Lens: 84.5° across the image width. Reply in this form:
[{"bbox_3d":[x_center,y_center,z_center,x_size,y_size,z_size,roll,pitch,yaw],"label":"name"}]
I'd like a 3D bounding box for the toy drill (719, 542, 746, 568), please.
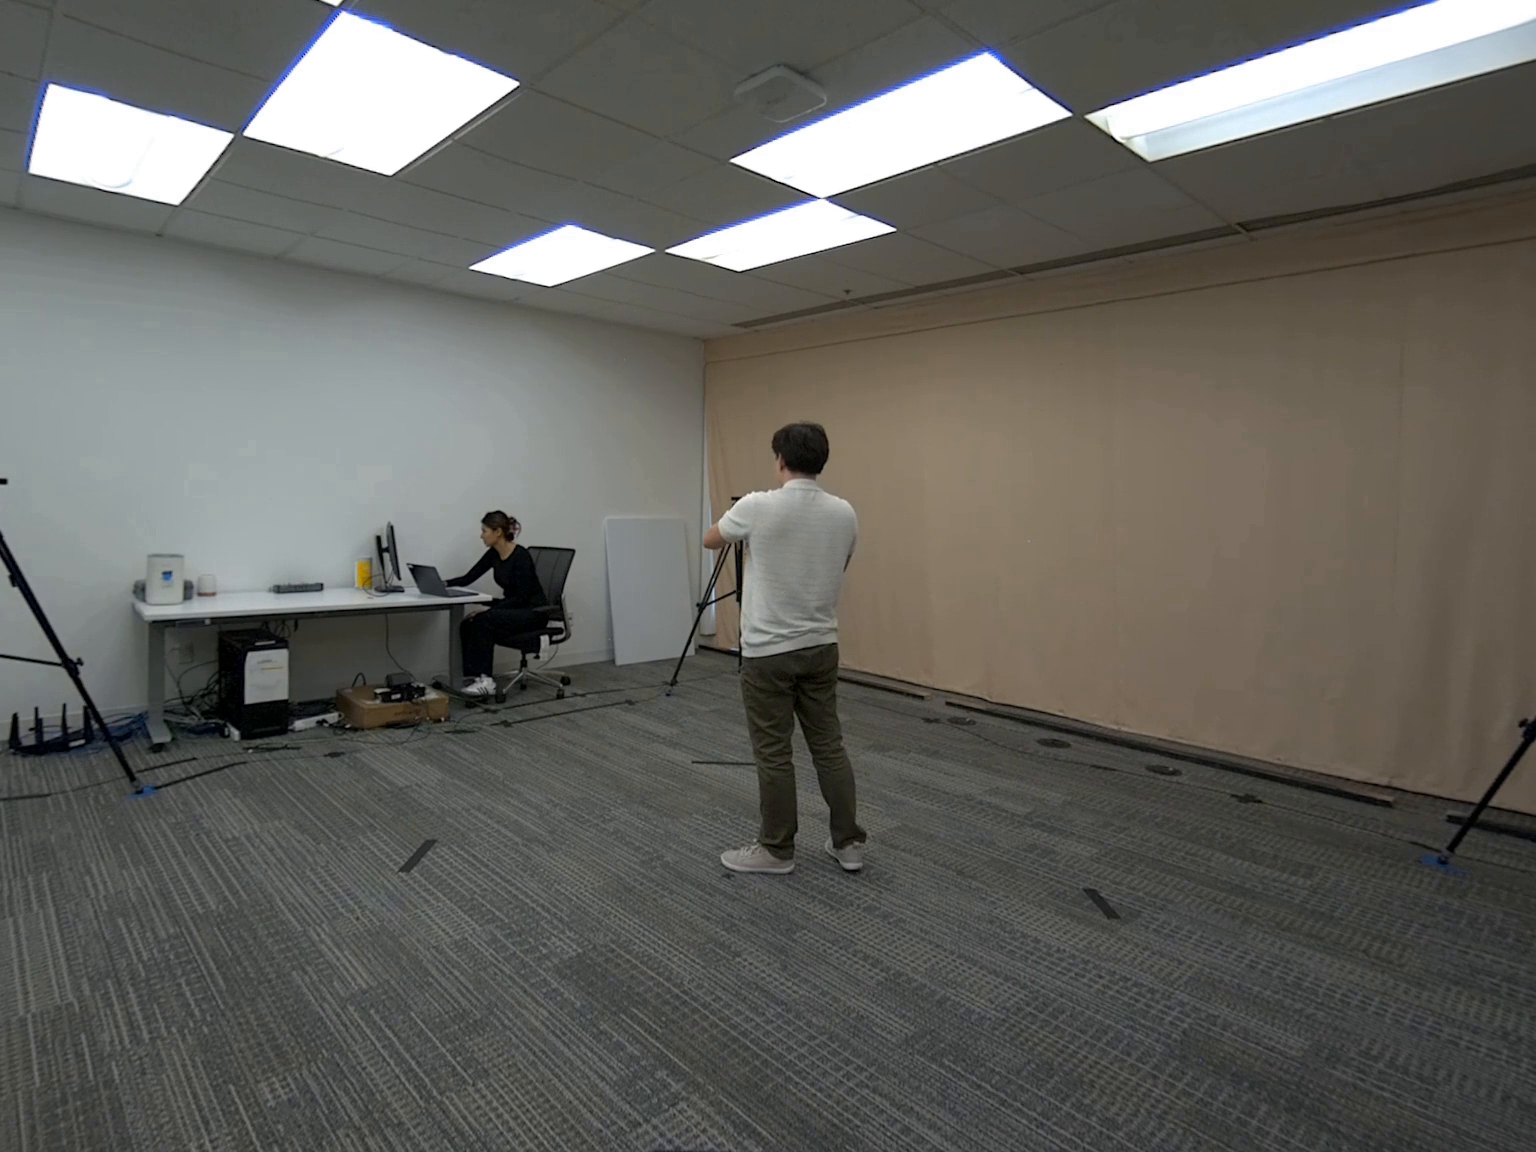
[{"bbox_3d":[-0.096,-0.142,3.520,0.144,0.171,0.062,30,-21,-15],"label":"toy drill"}]
